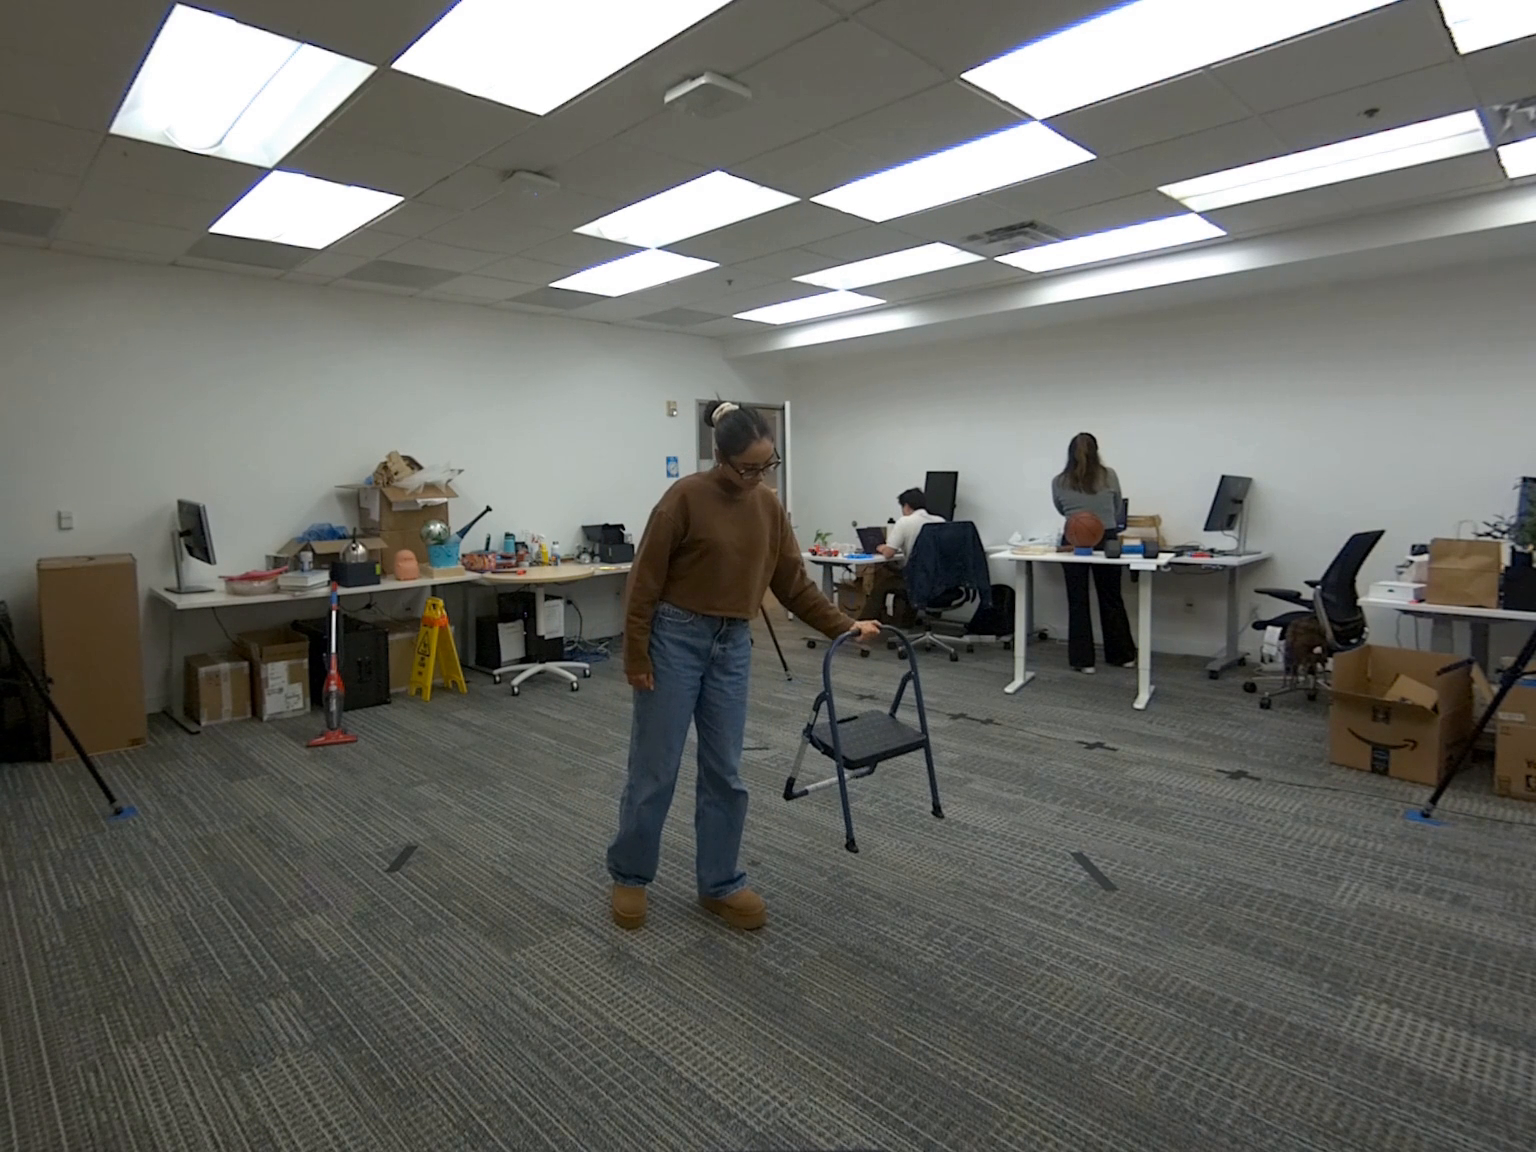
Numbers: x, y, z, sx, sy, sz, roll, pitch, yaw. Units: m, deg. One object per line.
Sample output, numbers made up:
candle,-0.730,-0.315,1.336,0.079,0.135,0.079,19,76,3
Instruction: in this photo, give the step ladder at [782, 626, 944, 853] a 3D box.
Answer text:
step ladder,0.337,0.481,2.765,0.420,0.599,0.362,-6,17,-38
